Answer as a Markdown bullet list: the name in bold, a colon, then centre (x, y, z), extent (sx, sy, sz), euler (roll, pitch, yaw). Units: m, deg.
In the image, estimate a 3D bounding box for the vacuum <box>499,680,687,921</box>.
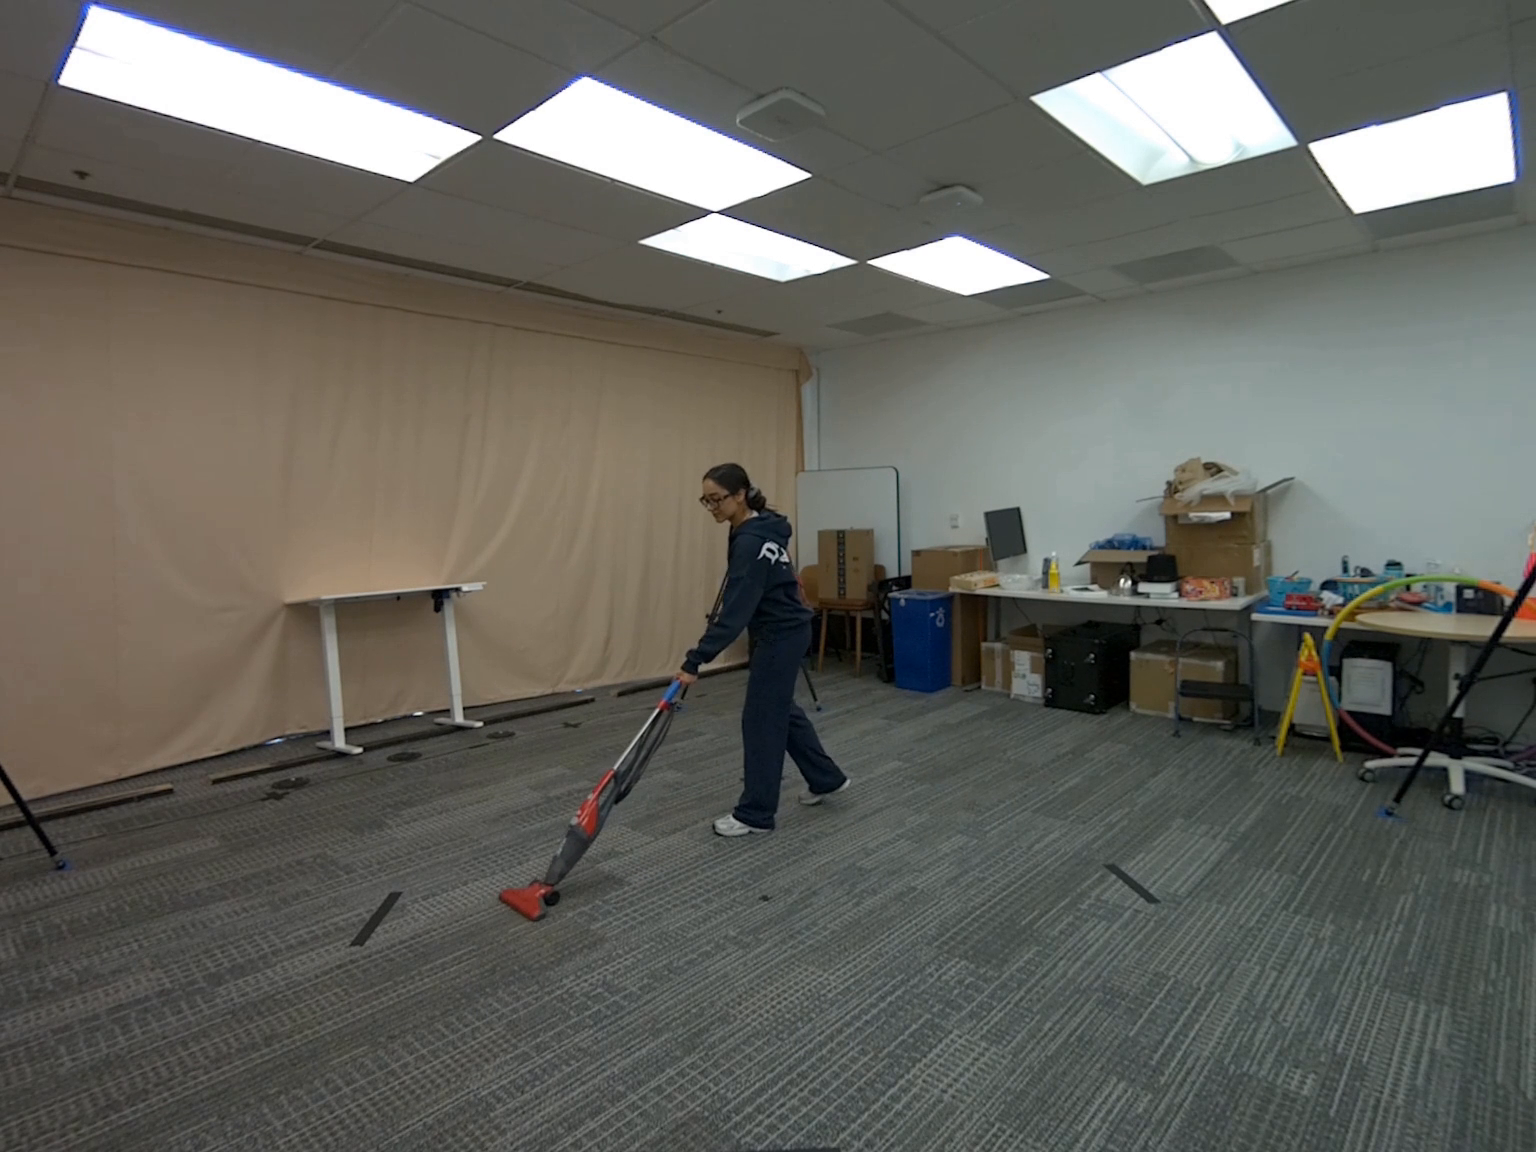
- **vacuum**: centre (-0.562, 0.778, 3.230), extent (0.261, 0.140, 1.045), euler (5, 48, 44)
